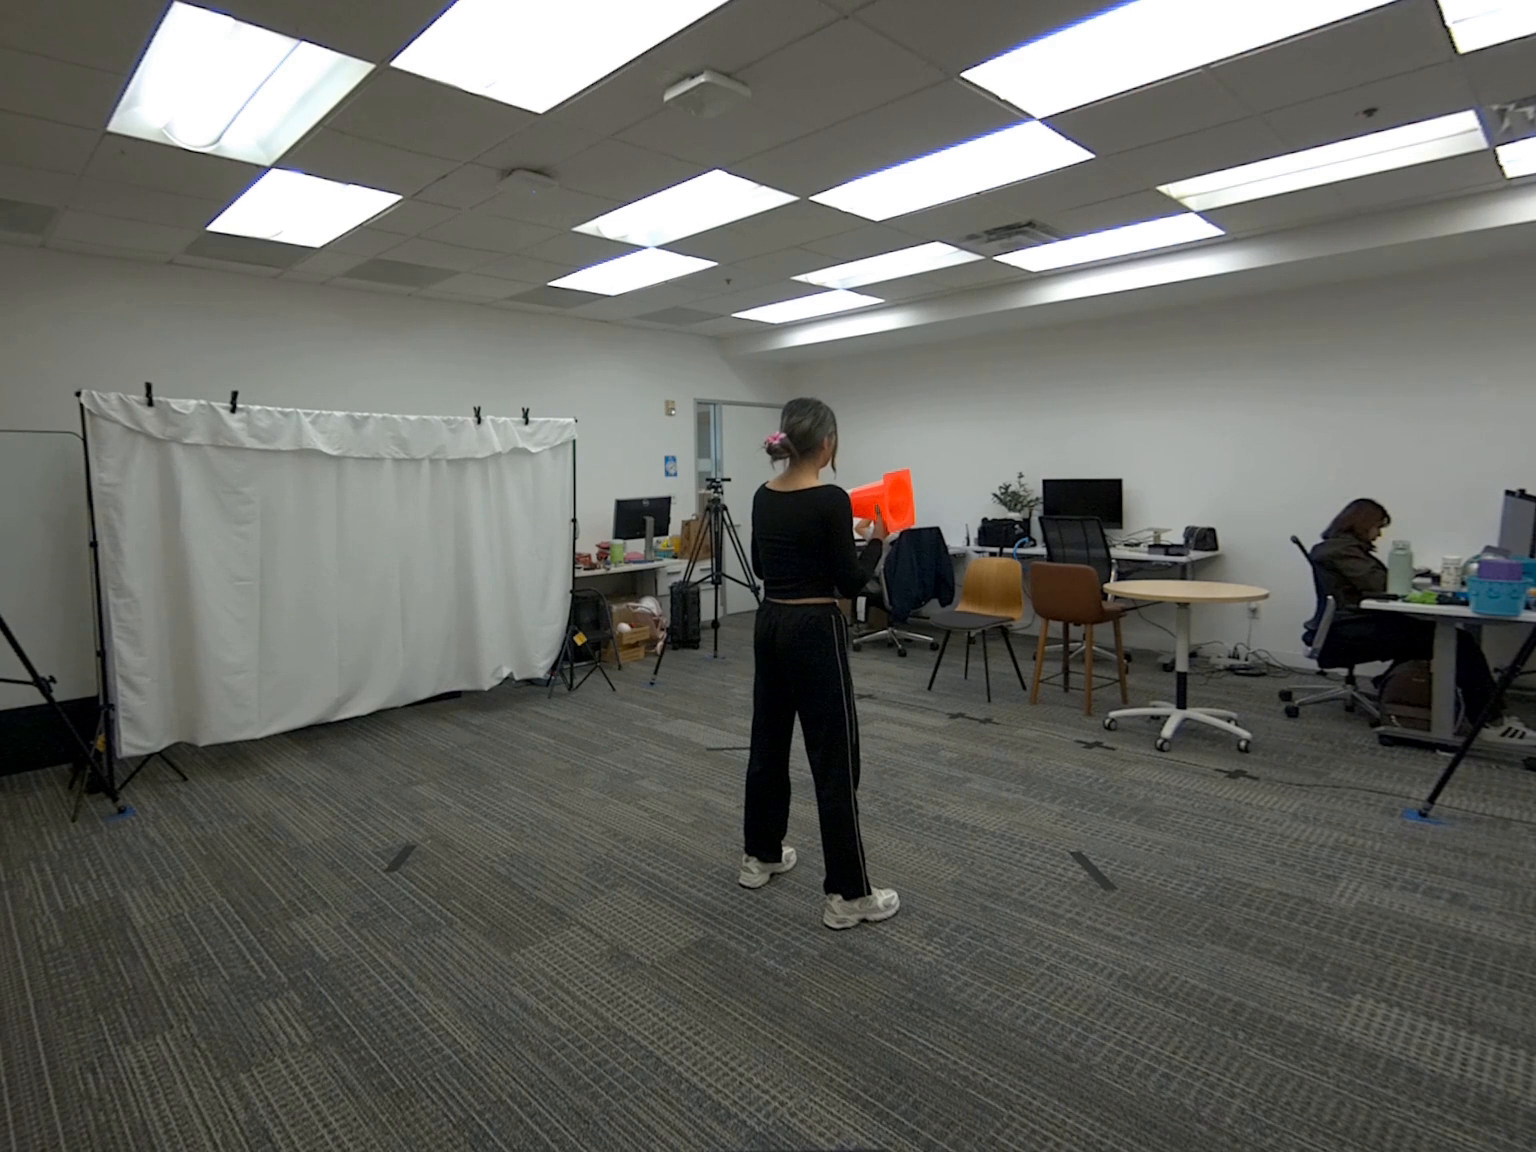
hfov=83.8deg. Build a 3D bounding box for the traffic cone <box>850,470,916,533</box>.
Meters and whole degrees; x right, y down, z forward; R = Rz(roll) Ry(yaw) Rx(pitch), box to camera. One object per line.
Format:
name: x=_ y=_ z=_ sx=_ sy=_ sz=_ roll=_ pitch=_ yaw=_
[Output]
traffic cone: x=0.302 y=-0.258 z=3.001 sx=0.395 sy=0.203 sz=0.199 roll=1 pitch=12 yaw=38
